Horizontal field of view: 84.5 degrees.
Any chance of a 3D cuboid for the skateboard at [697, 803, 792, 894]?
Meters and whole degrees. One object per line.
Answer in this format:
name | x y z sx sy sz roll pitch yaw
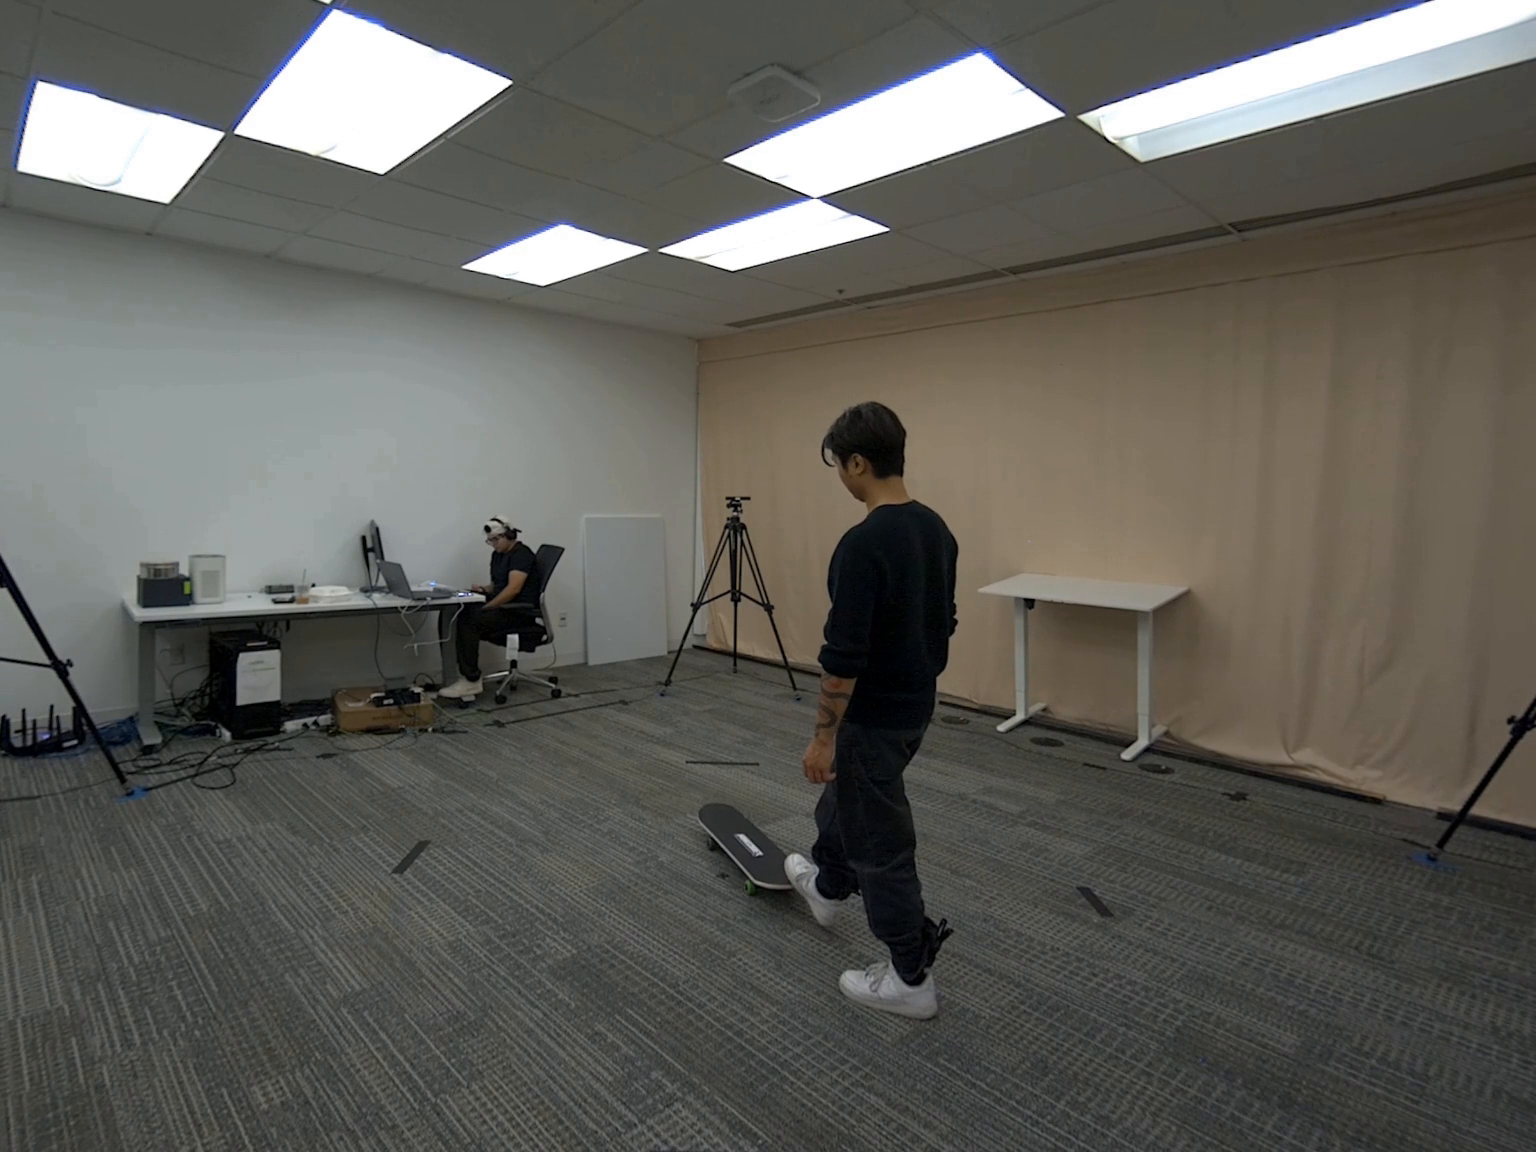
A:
skateboard | -0.085 1.048 3.179 0.190 0.110 0.801 -1 6 -23
